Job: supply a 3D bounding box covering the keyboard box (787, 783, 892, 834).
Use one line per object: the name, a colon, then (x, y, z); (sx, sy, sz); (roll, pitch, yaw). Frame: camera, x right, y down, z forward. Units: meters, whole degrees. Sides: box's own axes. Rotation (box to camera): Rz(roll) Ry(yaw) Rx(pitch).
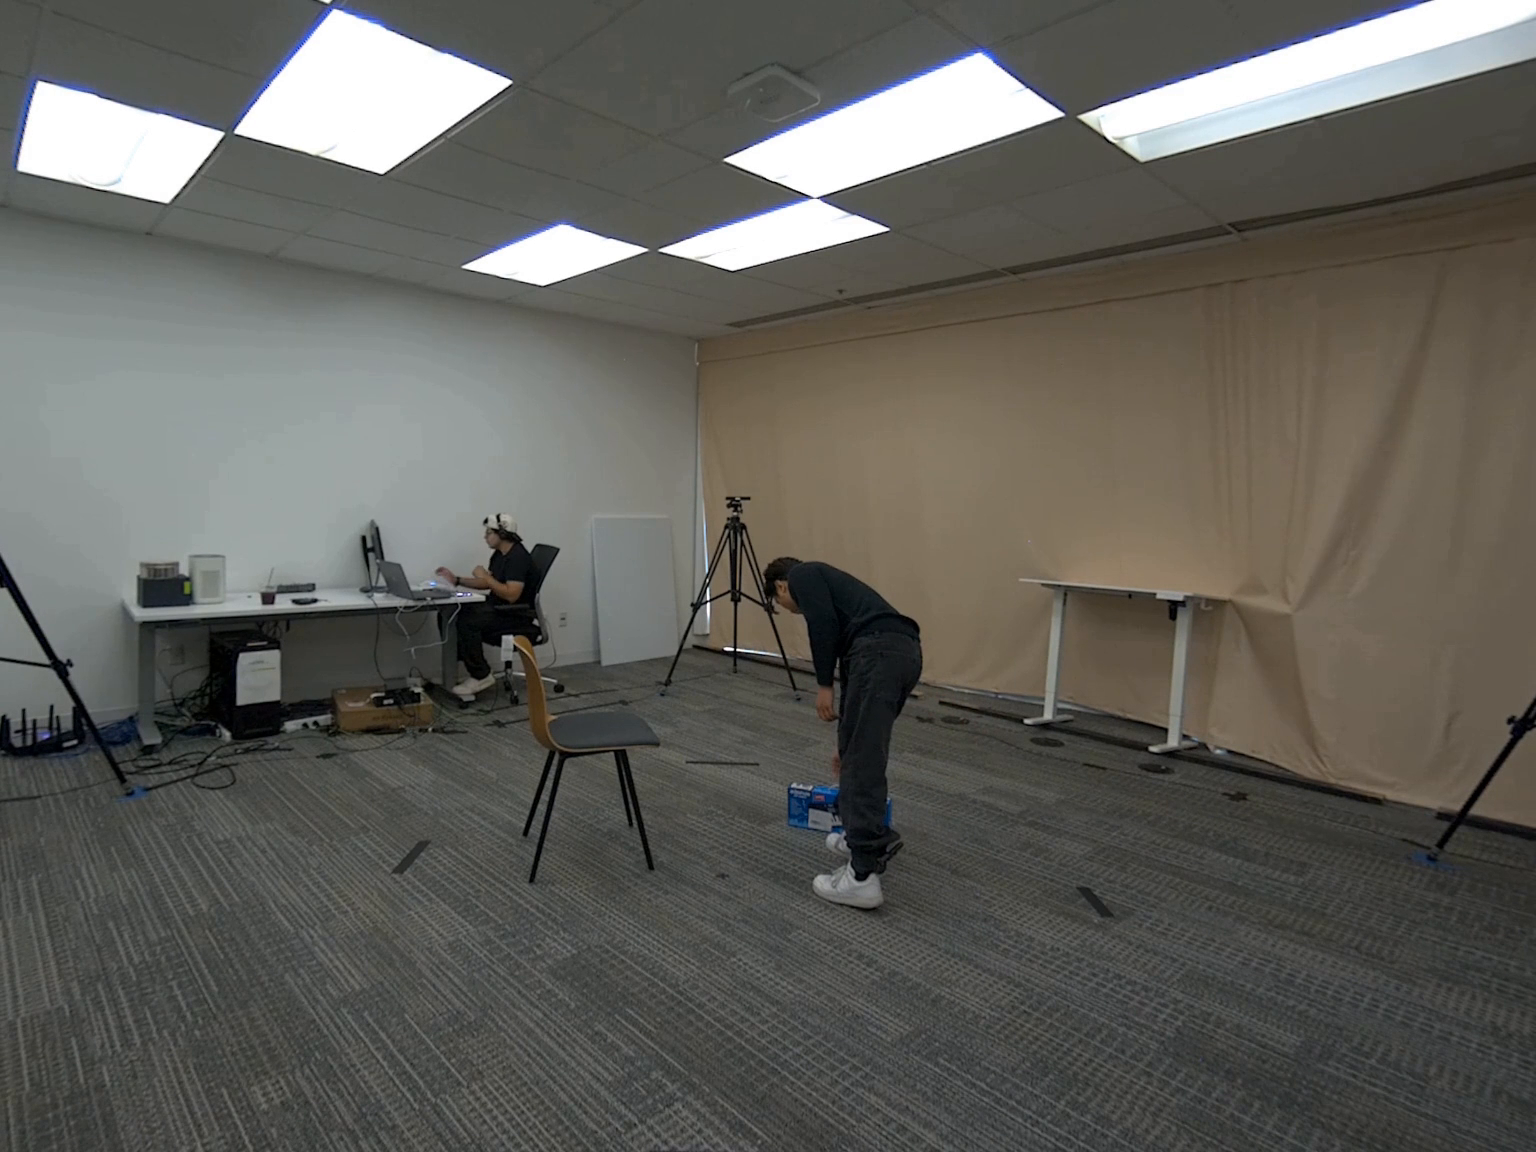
keyboard box: (0.291, 0.988, 3.539); (0.444, 0.175, 0.058); (4, 9, 22)
